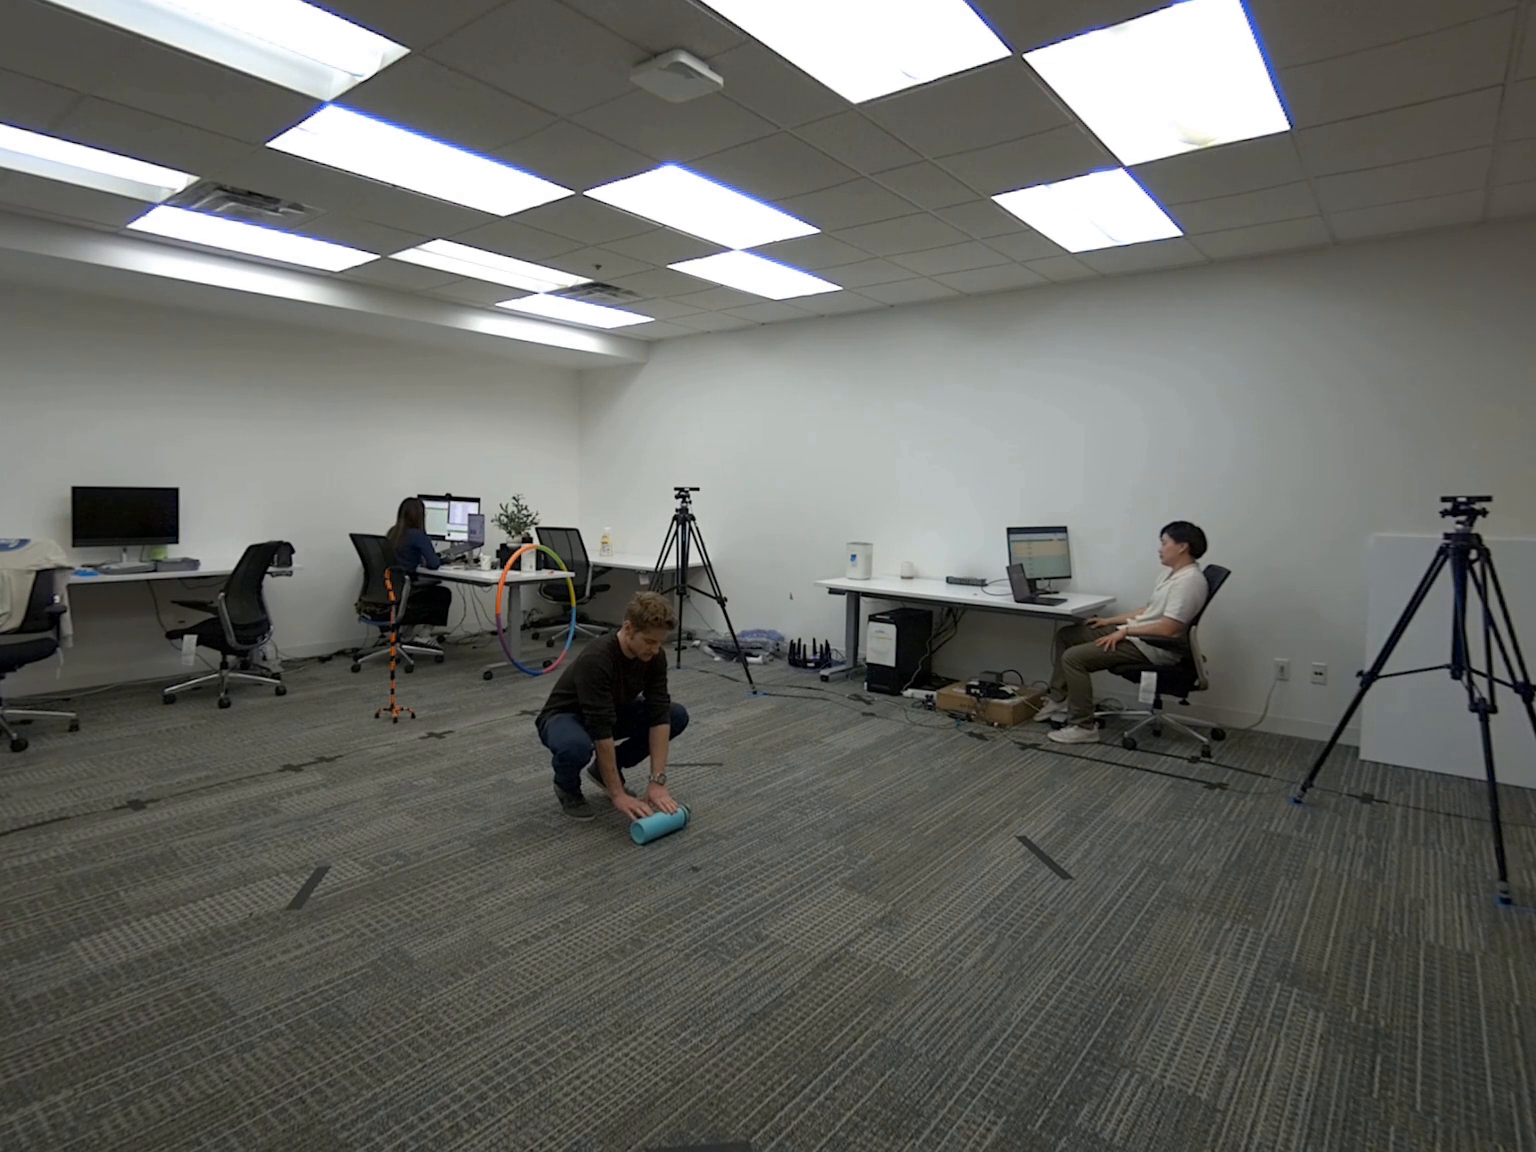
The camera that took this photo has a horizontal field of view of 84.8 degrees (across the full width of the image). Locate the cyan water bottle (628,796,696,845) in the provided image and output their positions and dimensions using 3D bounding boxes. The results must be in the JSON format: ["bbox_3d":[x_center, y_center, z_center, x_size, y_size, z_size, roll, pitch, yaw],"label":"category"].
[{"bbox_3d":[-0.429,0.985,3.405,0.095,0.092,0.275,4,6,41],"label":"cyan water bottle"}]
